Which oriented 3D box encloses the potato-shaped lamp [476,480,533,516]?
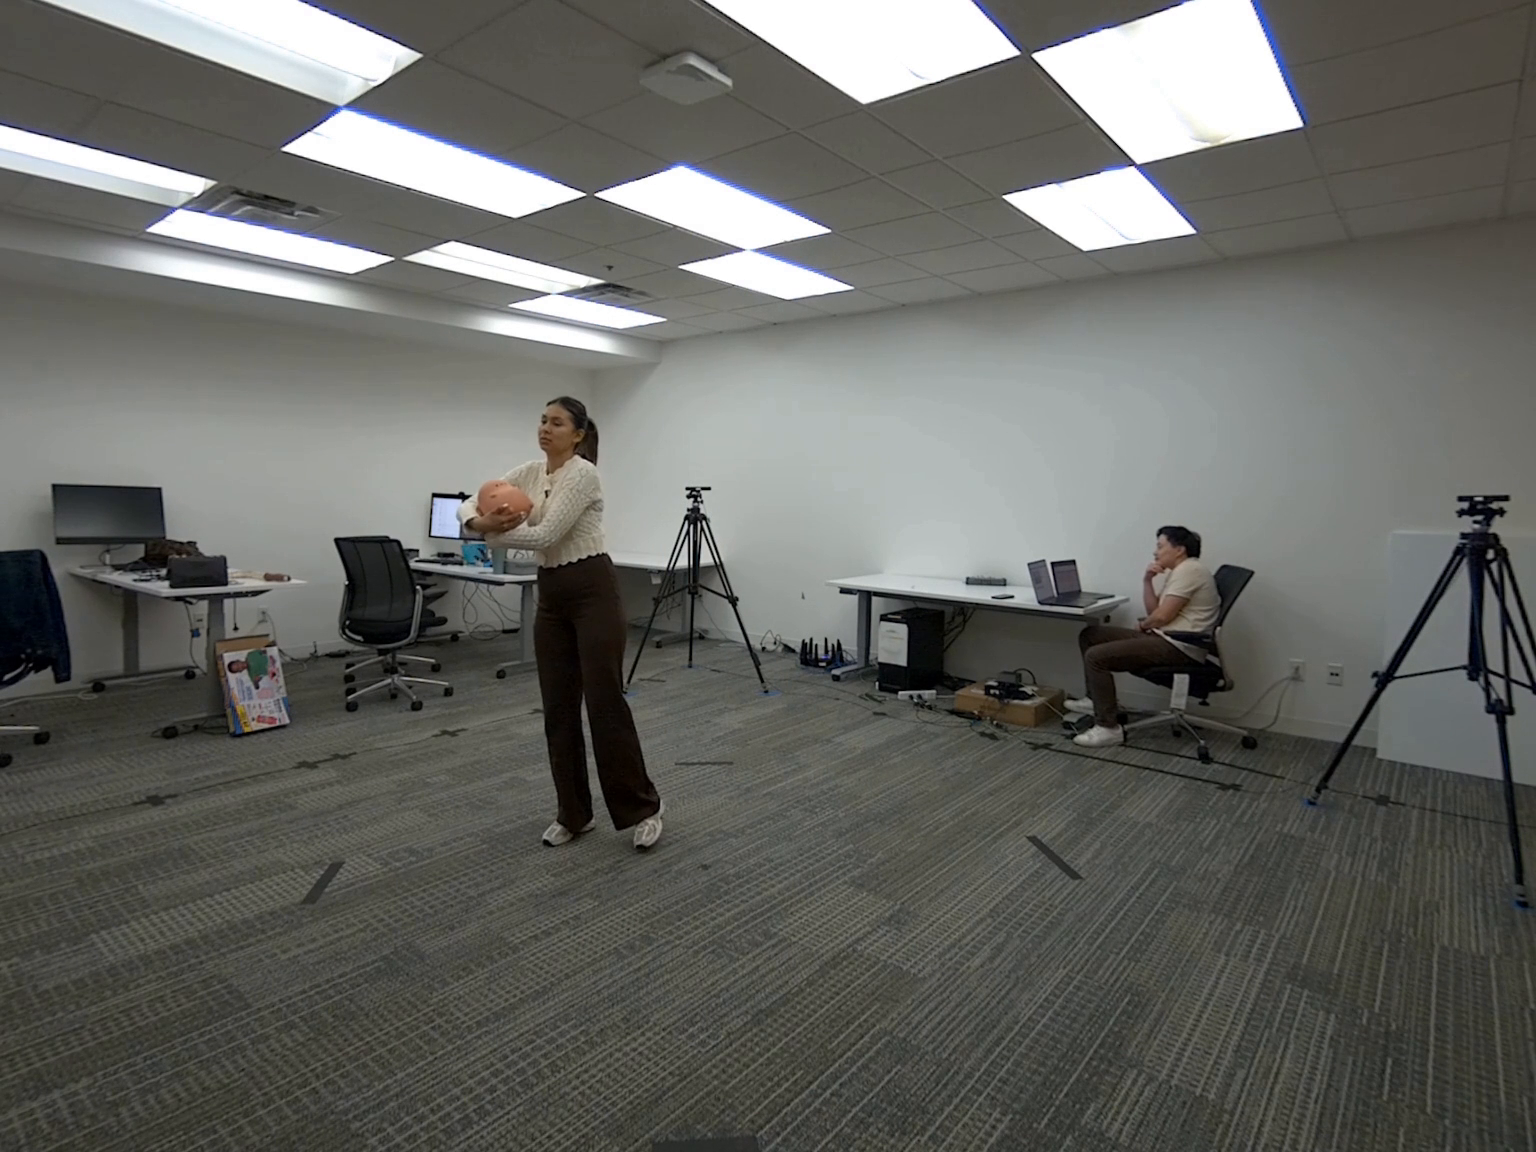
[{"bbox_3d":[-1.012,-0.273,3.182,0.171,0.203,0.161,-47,-19,31],"label":"potato-shaped lamp"}]
